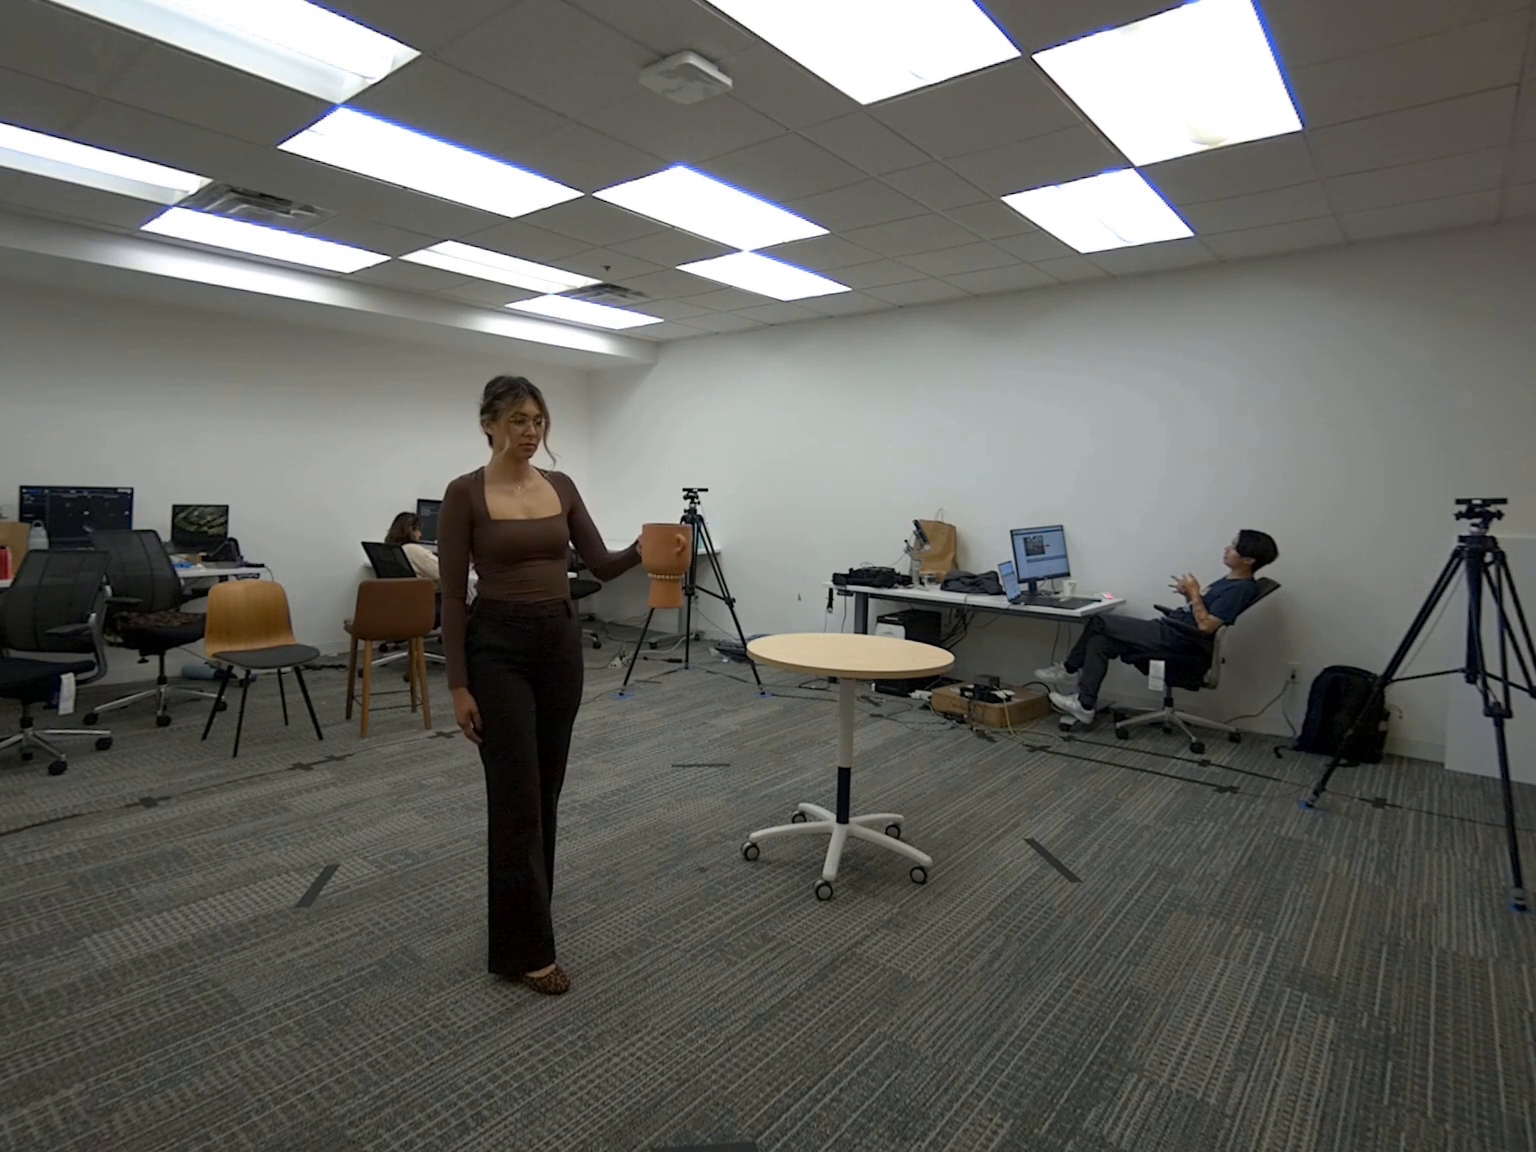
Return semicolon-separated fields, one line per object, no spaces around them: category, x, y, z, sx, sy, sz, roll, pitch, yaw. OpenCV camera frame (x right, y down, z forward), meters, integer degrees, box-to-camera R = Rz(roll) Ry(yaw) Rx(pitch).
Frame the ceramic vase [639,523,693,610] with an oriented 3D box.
ceramic vase;-0.282;-0.030;2.273;0.135;0.219;0.158;1;4;5
